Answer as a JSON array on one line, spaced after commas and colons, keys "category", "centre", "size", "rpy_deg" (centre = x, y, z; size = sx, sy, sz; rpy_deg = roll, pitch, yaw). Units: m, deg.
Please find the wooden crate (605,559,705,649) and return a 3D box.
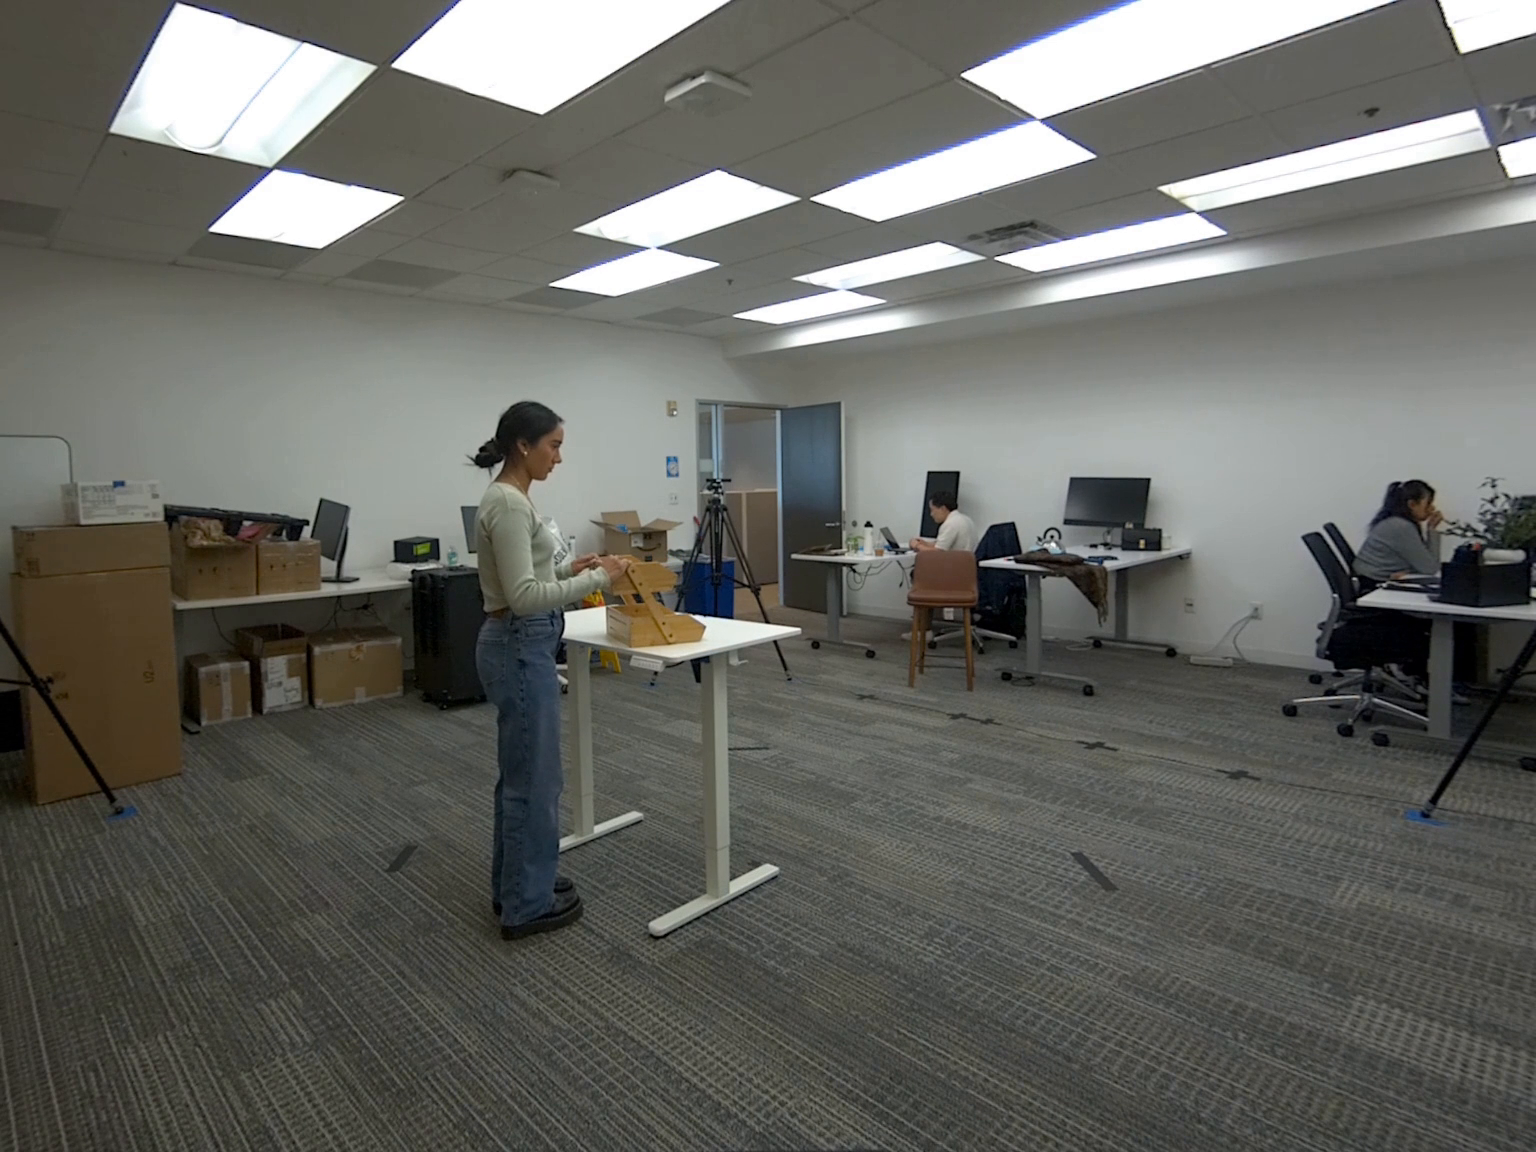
[{"category": "wooden crate", "centre": [-0.396, 0.068, 2.791], "size": [0.296, 0.272, 0.332], "rpy_deg": [-4, 5, -23]}]
